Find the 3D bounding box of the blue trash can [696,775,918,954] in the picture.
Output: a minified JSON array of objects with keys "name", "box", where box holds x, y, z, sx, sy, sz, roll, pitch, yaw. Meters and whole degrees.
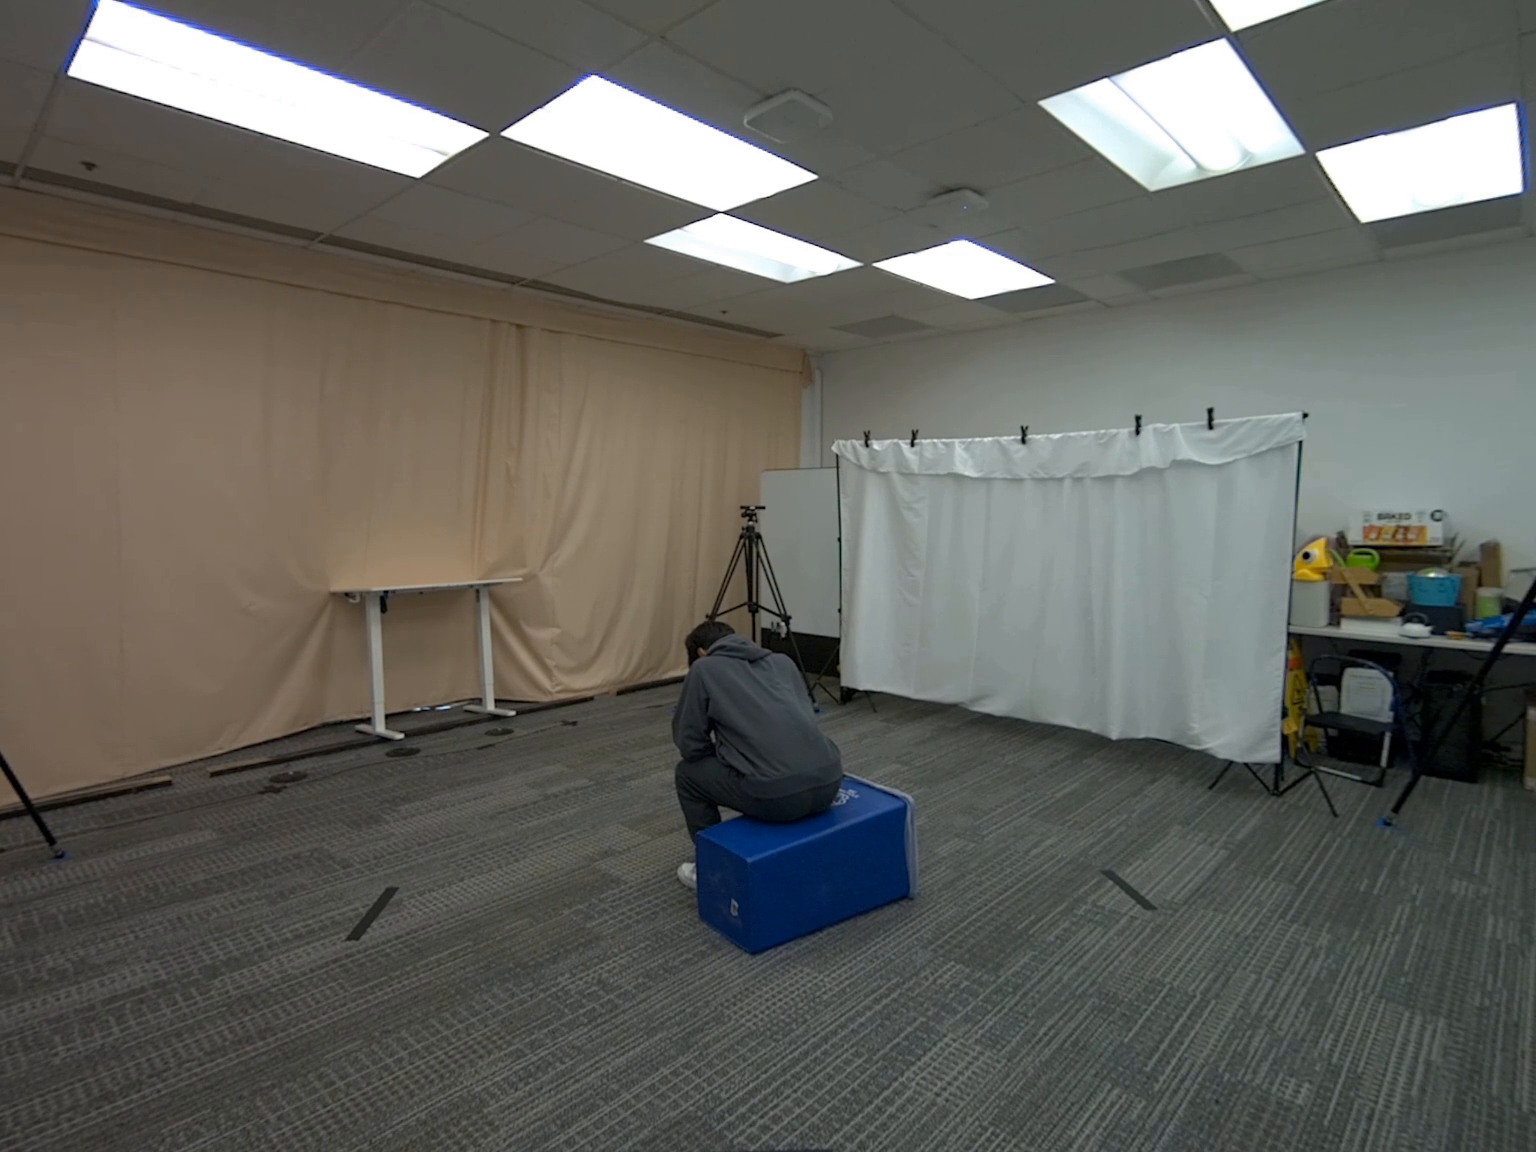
[{"name":"blue trash can","box":[0.143,0.983,2.901,0.693,0.376,0.386,-8,8,-37]}]
